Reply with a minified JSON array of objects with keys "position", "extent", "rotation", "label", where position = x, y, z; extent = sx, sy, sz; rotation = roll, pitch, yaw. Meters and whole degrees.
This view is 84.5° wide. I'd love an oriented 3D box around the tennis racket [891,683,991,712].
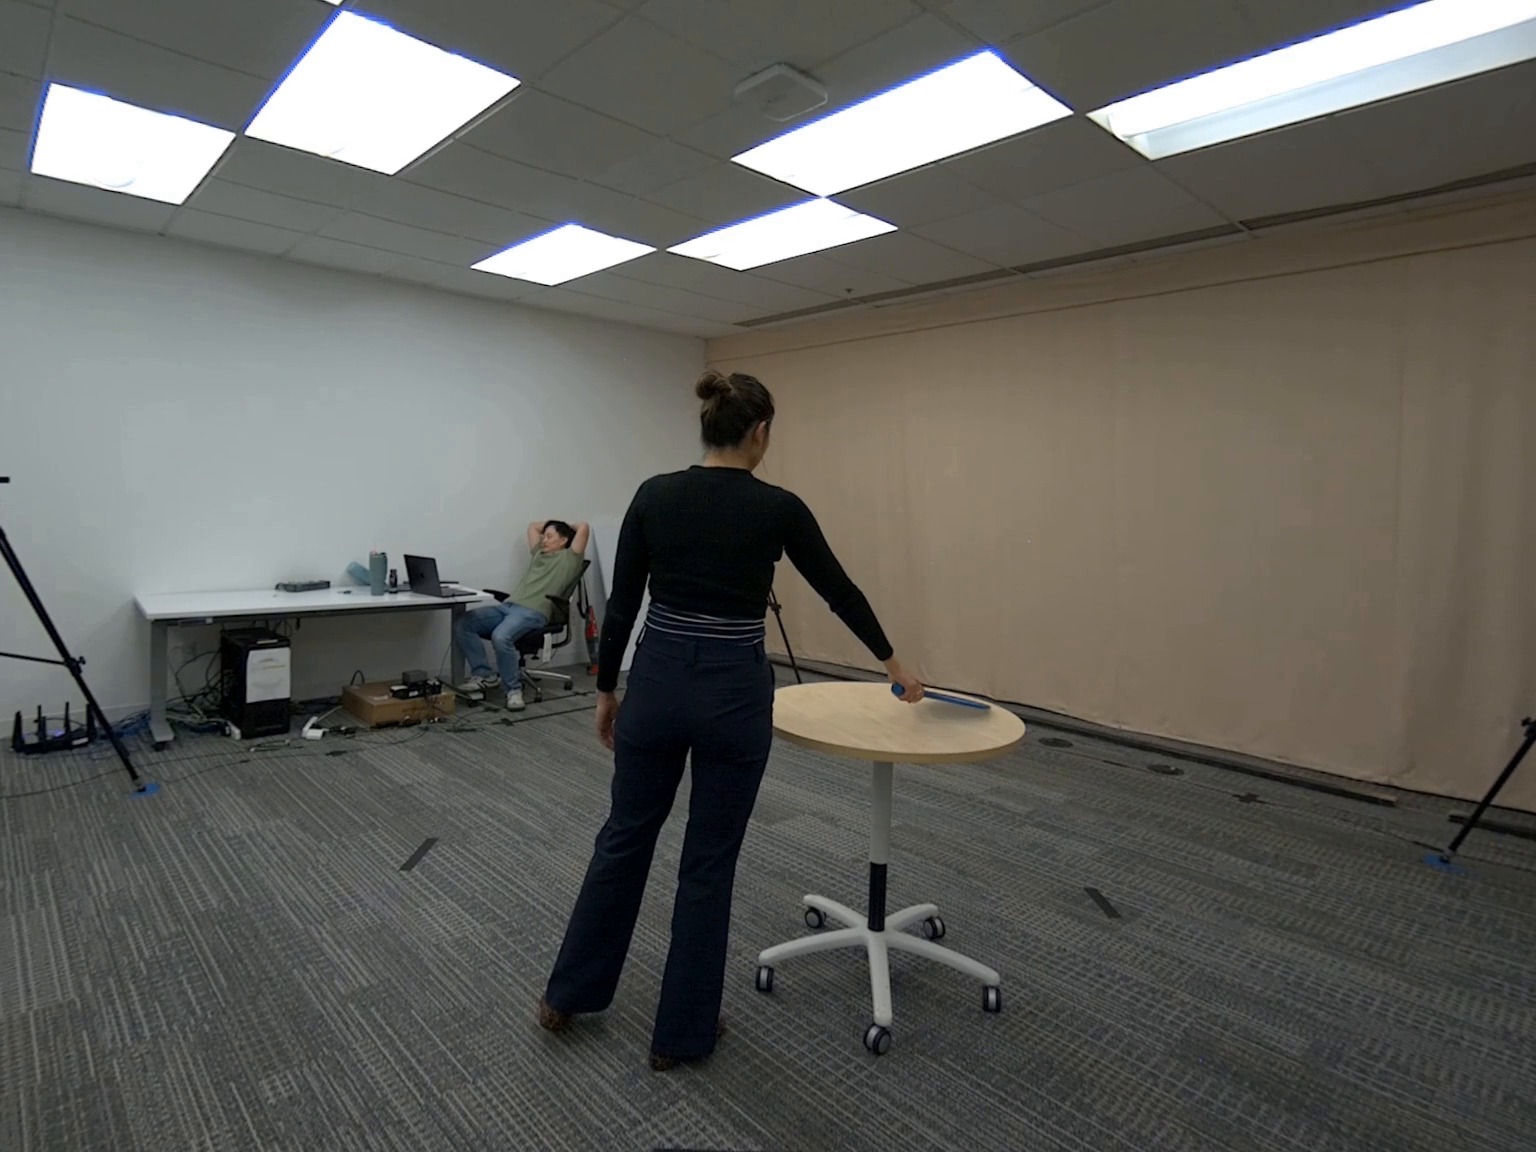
[{"position":[0.475,0.342,2.417],"extent":[0.219,0.032,0.420],"rotation":[10,-4,45],"label":"tennis racket"}]
